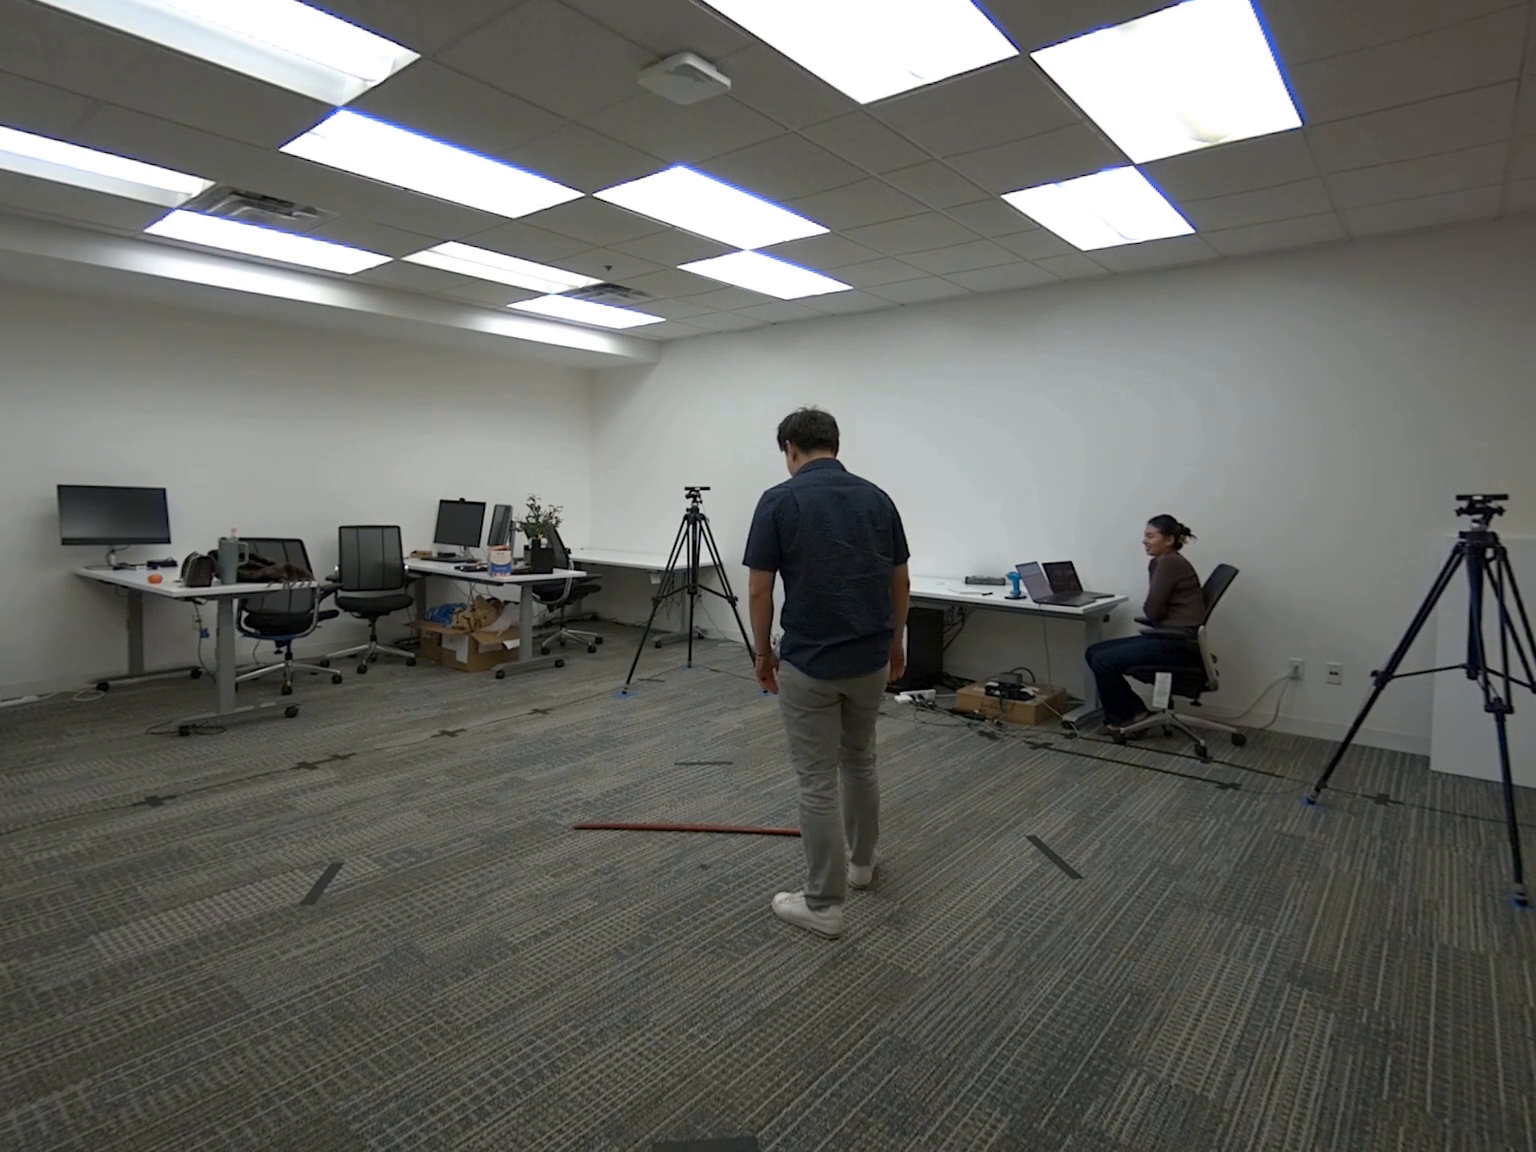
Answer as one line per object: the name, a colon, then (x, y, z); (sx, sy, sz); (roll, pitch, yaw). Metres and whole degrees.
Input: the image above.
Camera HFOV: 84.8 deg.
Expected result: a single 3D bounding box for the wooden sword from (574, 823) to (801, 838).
wooden sword: (-0.294, 1.012, 3.433); (1.027, 0.024, 0.051); (1, 7, 3)
